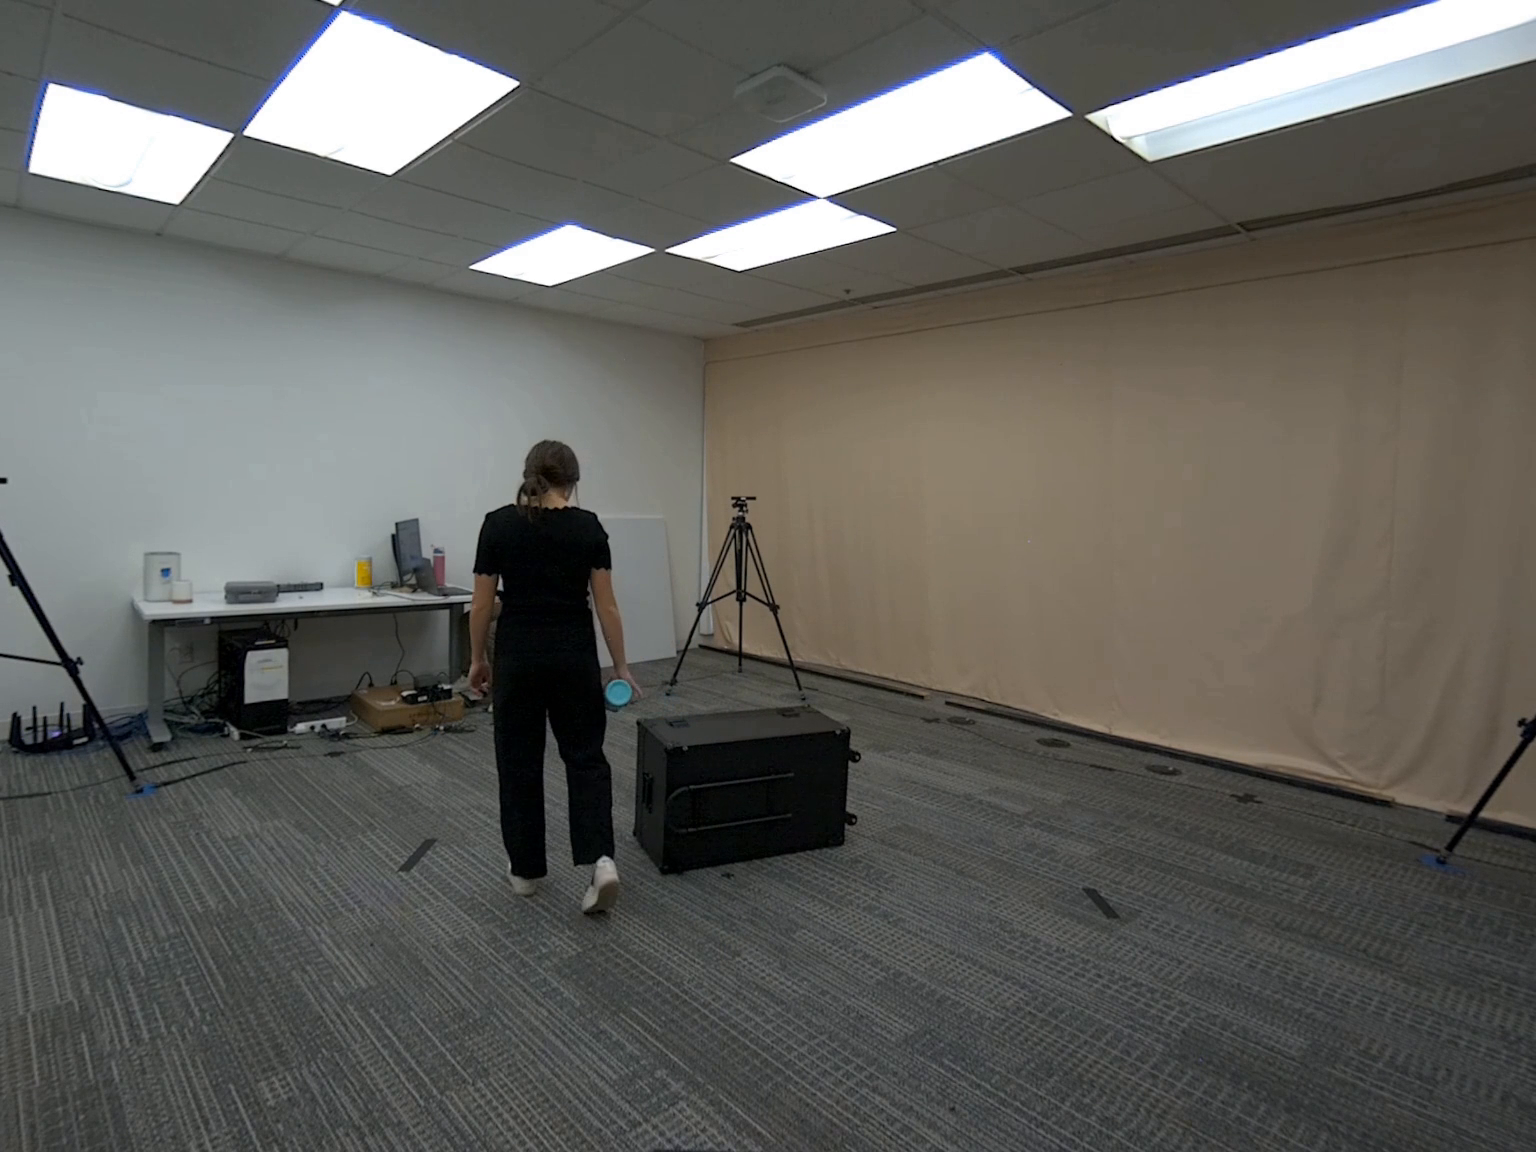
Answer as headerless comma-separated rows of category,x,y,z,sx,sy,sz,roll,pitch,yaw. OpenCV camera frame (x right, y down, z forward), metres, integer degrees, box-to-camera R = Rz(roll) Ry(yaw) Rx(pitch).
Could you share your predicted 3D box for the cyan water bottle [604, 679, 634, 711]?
cyan water bottle,-0.550,0.432,3.010,0.091,0.093,0.282,1,-16,-12
